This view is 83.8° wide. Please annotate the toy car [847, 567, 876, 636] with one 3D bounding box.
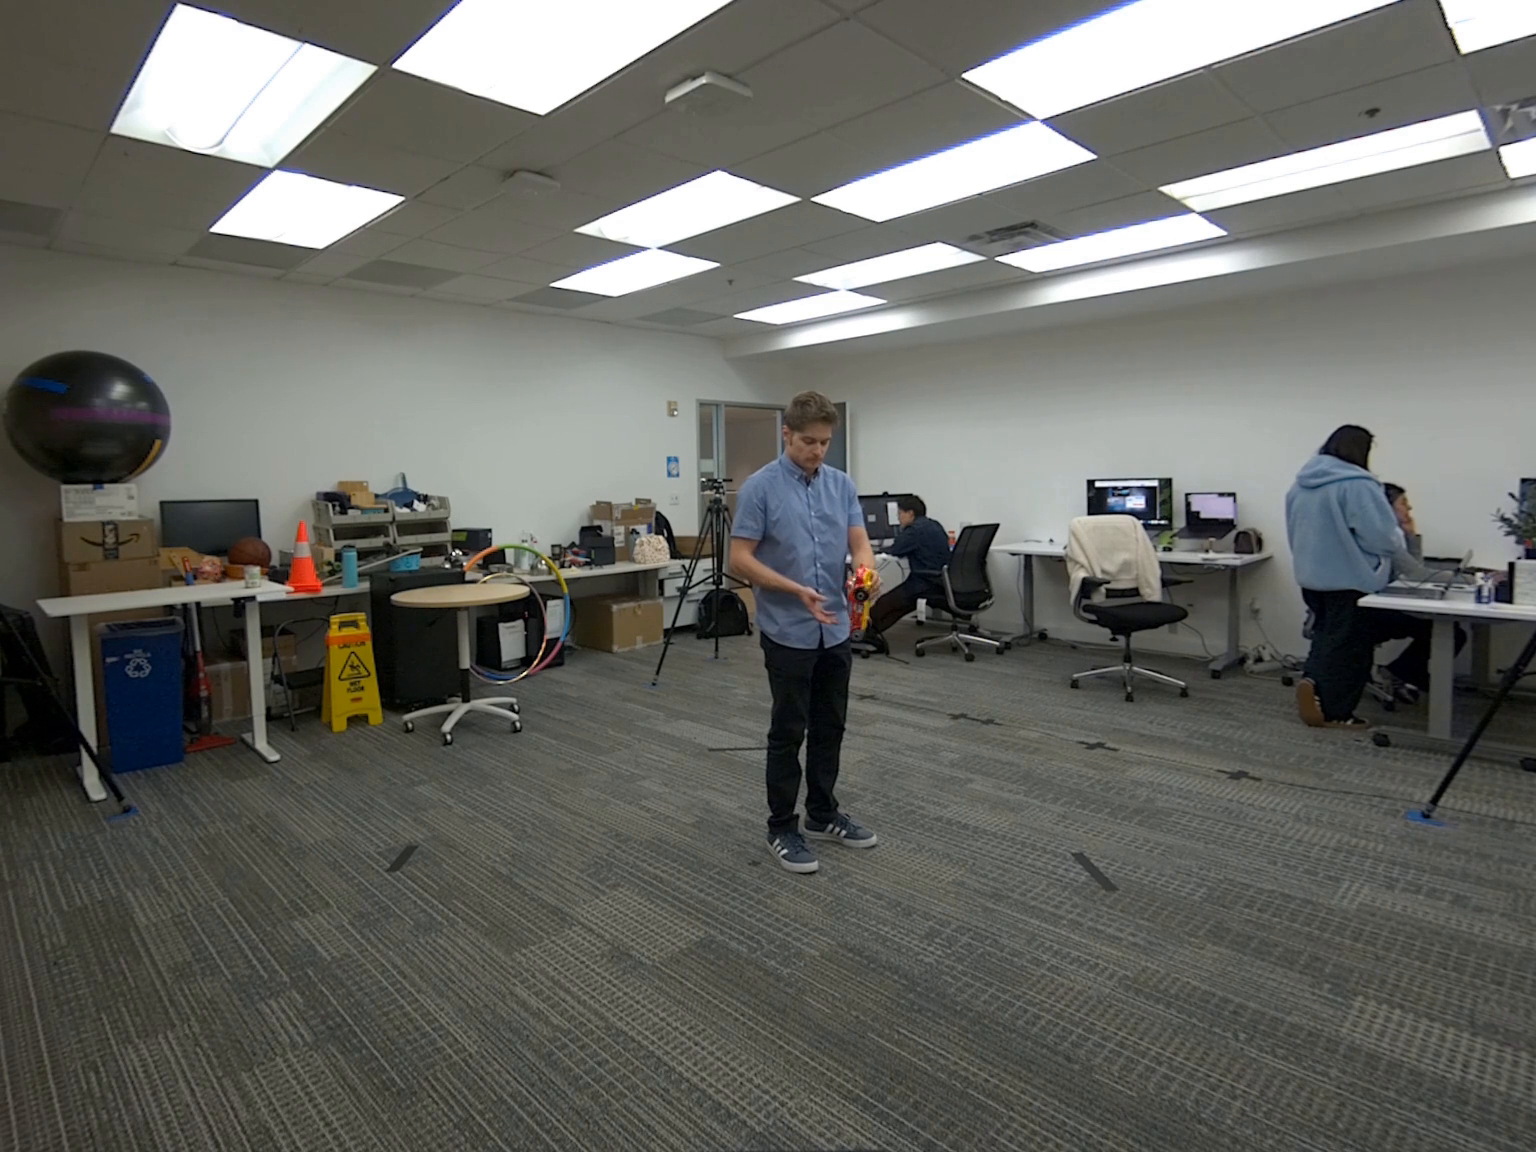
[{"bbox_3d":[0.301,0.086,2.810,0.085,0.250,0.130,0,20,24],"label":"toy car"}]
